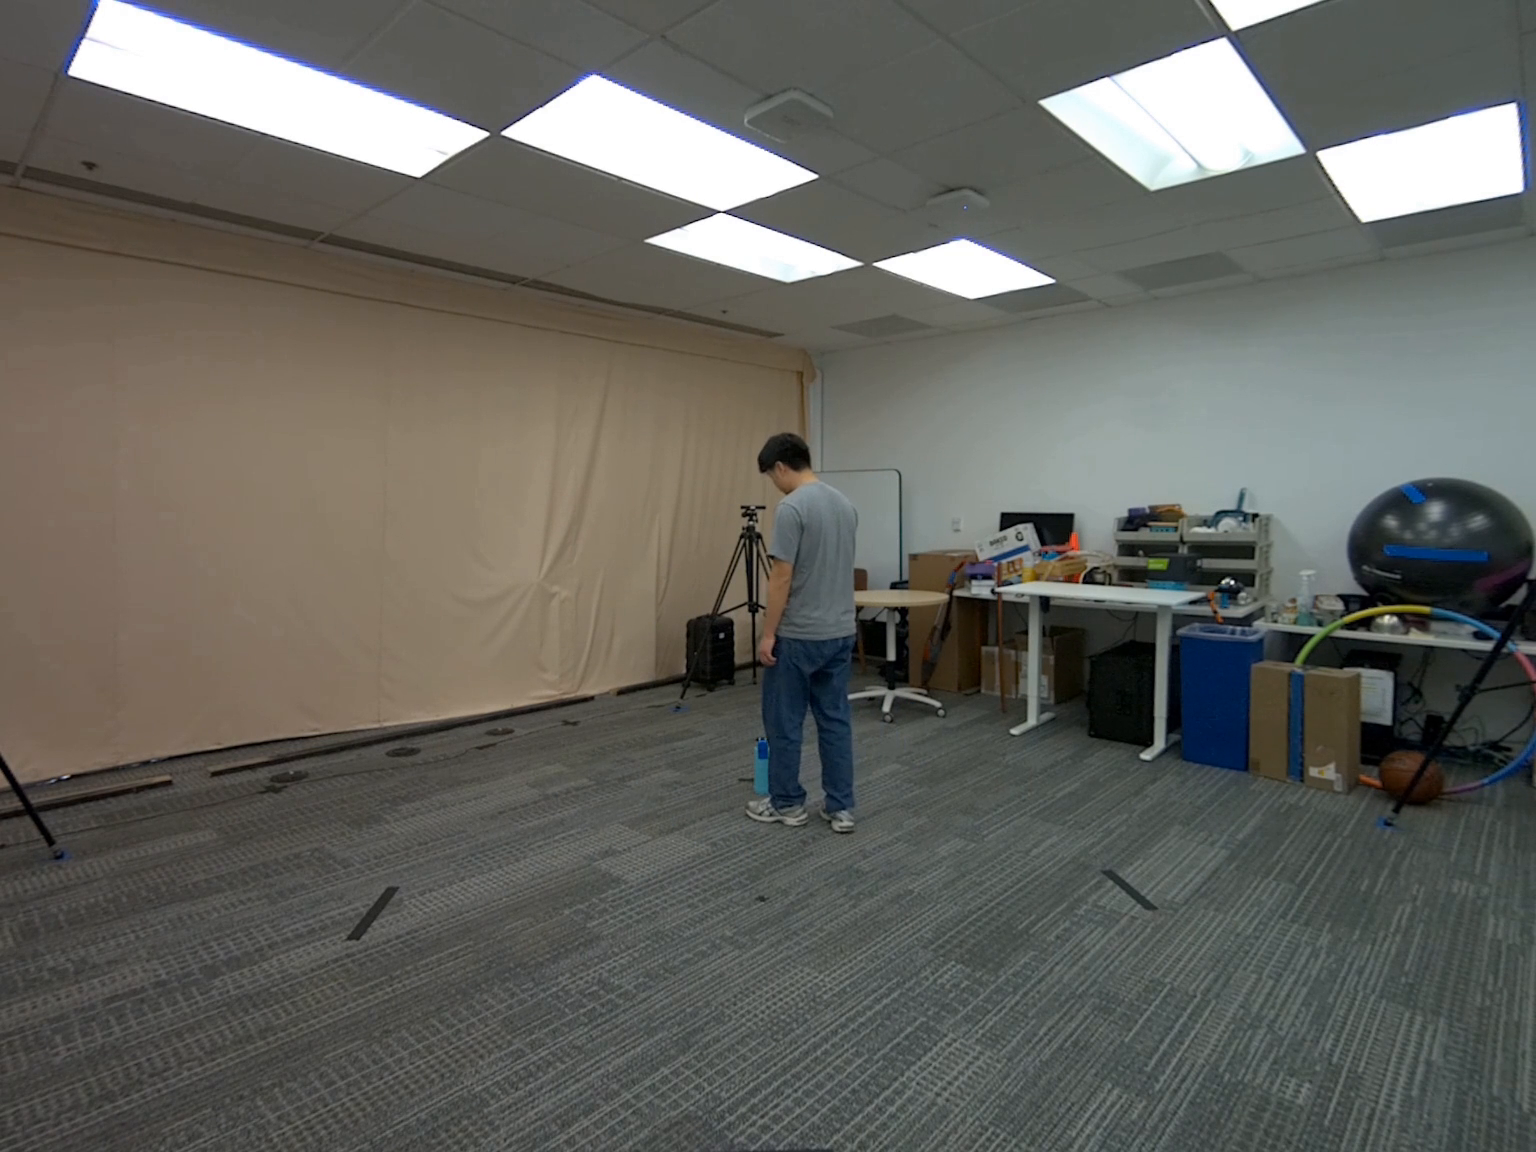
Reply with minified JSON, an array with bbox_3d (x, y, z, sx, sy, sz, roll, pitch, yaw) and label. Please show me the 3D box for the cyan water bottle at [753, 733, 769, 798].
[{"bbox_3d":[-0.025,0.913,4.103,0.092,0.283,0.092,0,3,-2],"label":"cyan water bottle"}]
